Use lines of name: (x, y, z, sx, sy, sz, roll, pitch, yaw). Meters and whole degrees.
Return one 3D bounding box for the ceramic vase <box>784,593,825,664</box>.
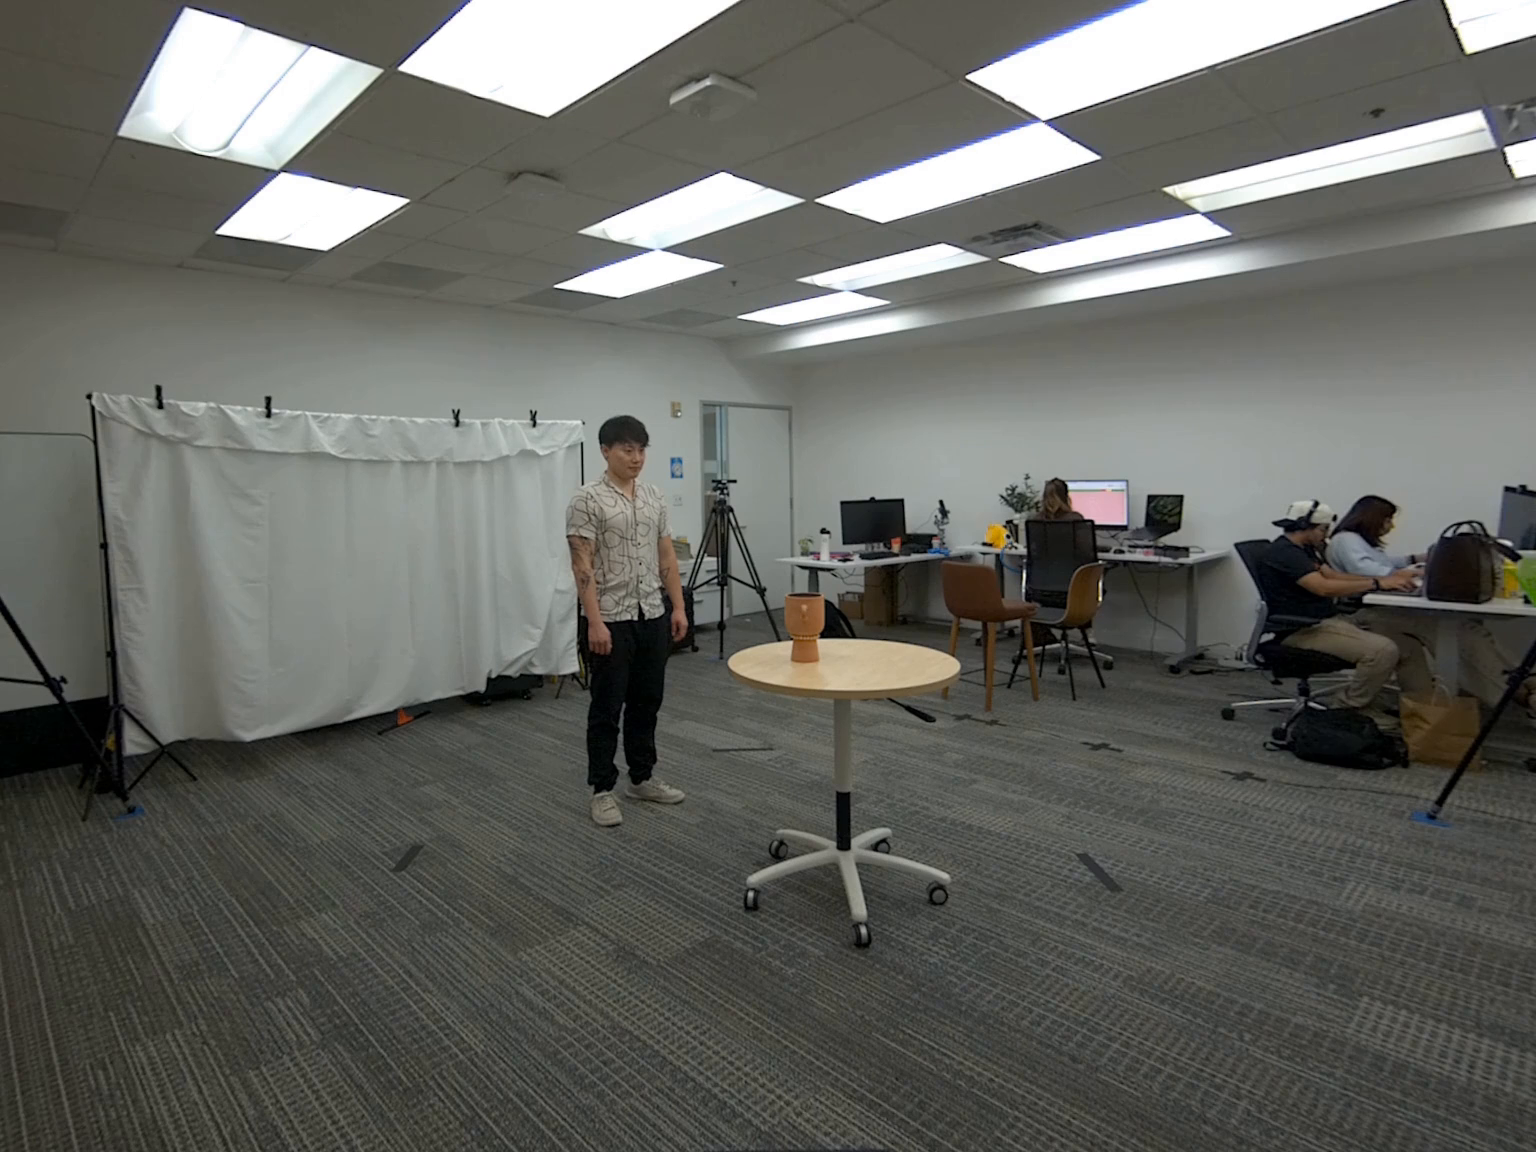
ceramic vase: (0.127, 0.176, 2.887, 0.139, 0.219, 0.154, 4, 6, 44)
